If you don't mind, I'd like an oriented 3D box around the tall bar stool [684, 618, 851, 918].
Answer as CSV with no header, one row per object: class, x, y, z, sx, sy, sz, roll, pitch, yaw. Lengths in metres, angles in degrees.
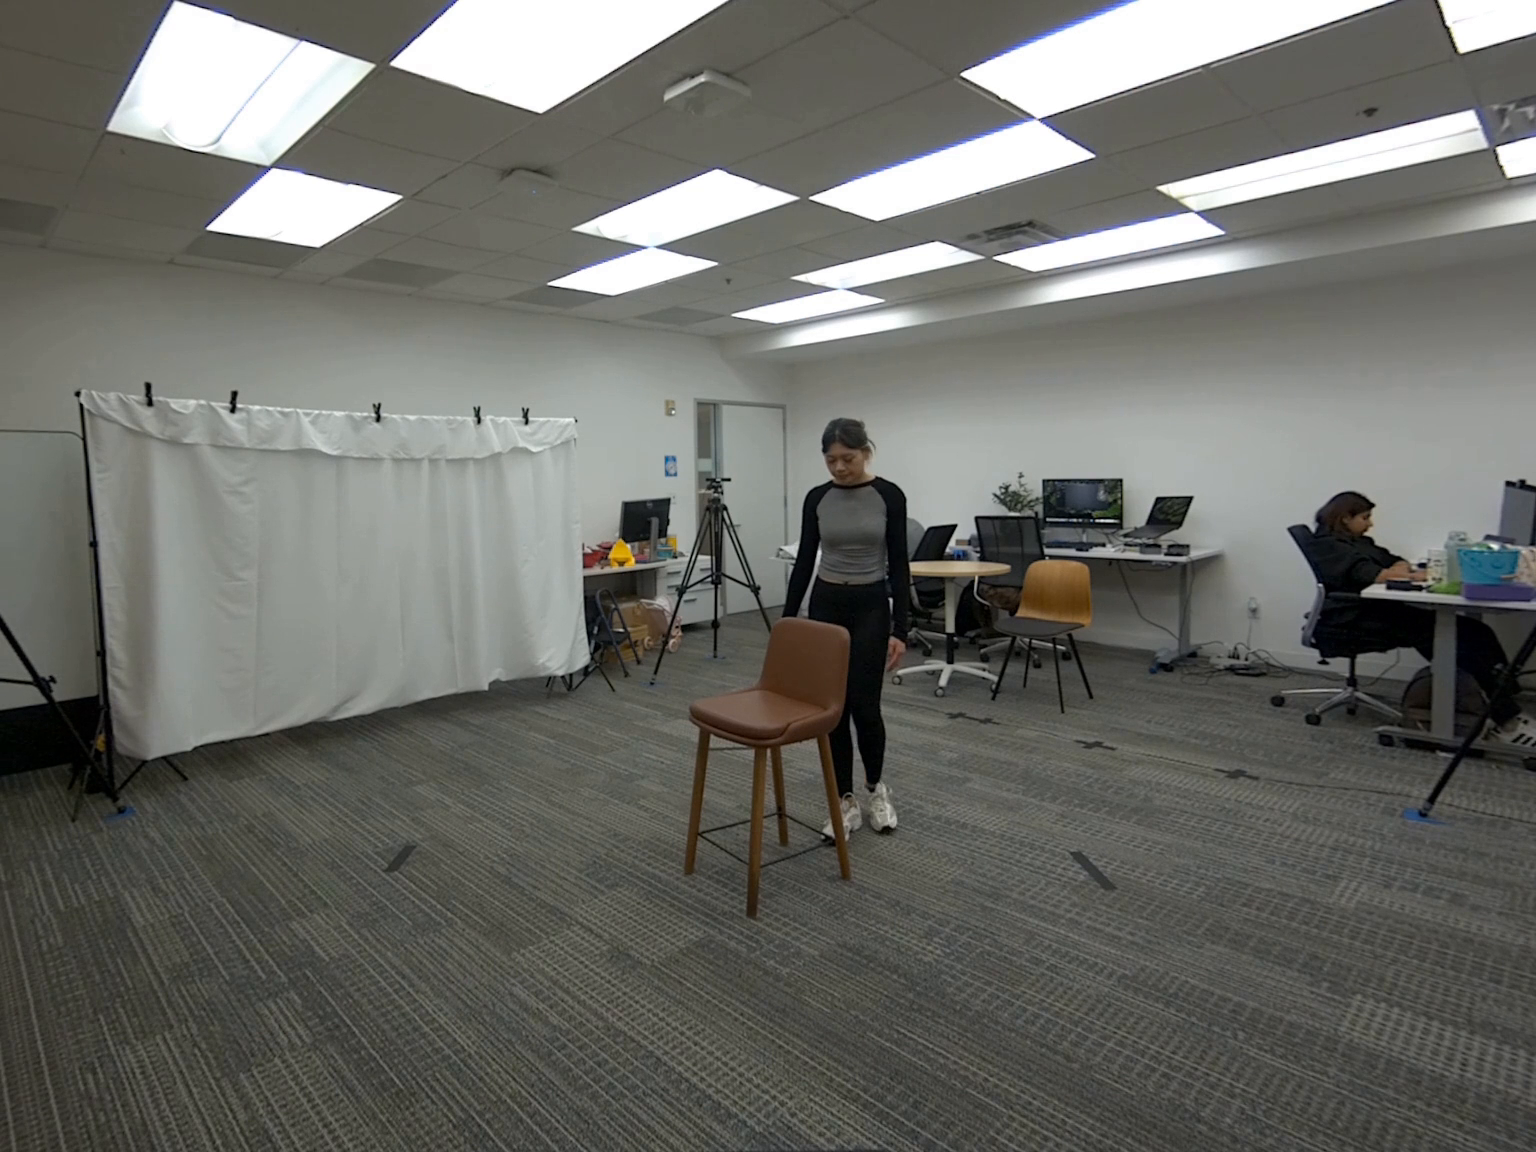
tall bar stool,0.002,0.618,2.972,0.455,0.888,0.470,-1,3,-36
